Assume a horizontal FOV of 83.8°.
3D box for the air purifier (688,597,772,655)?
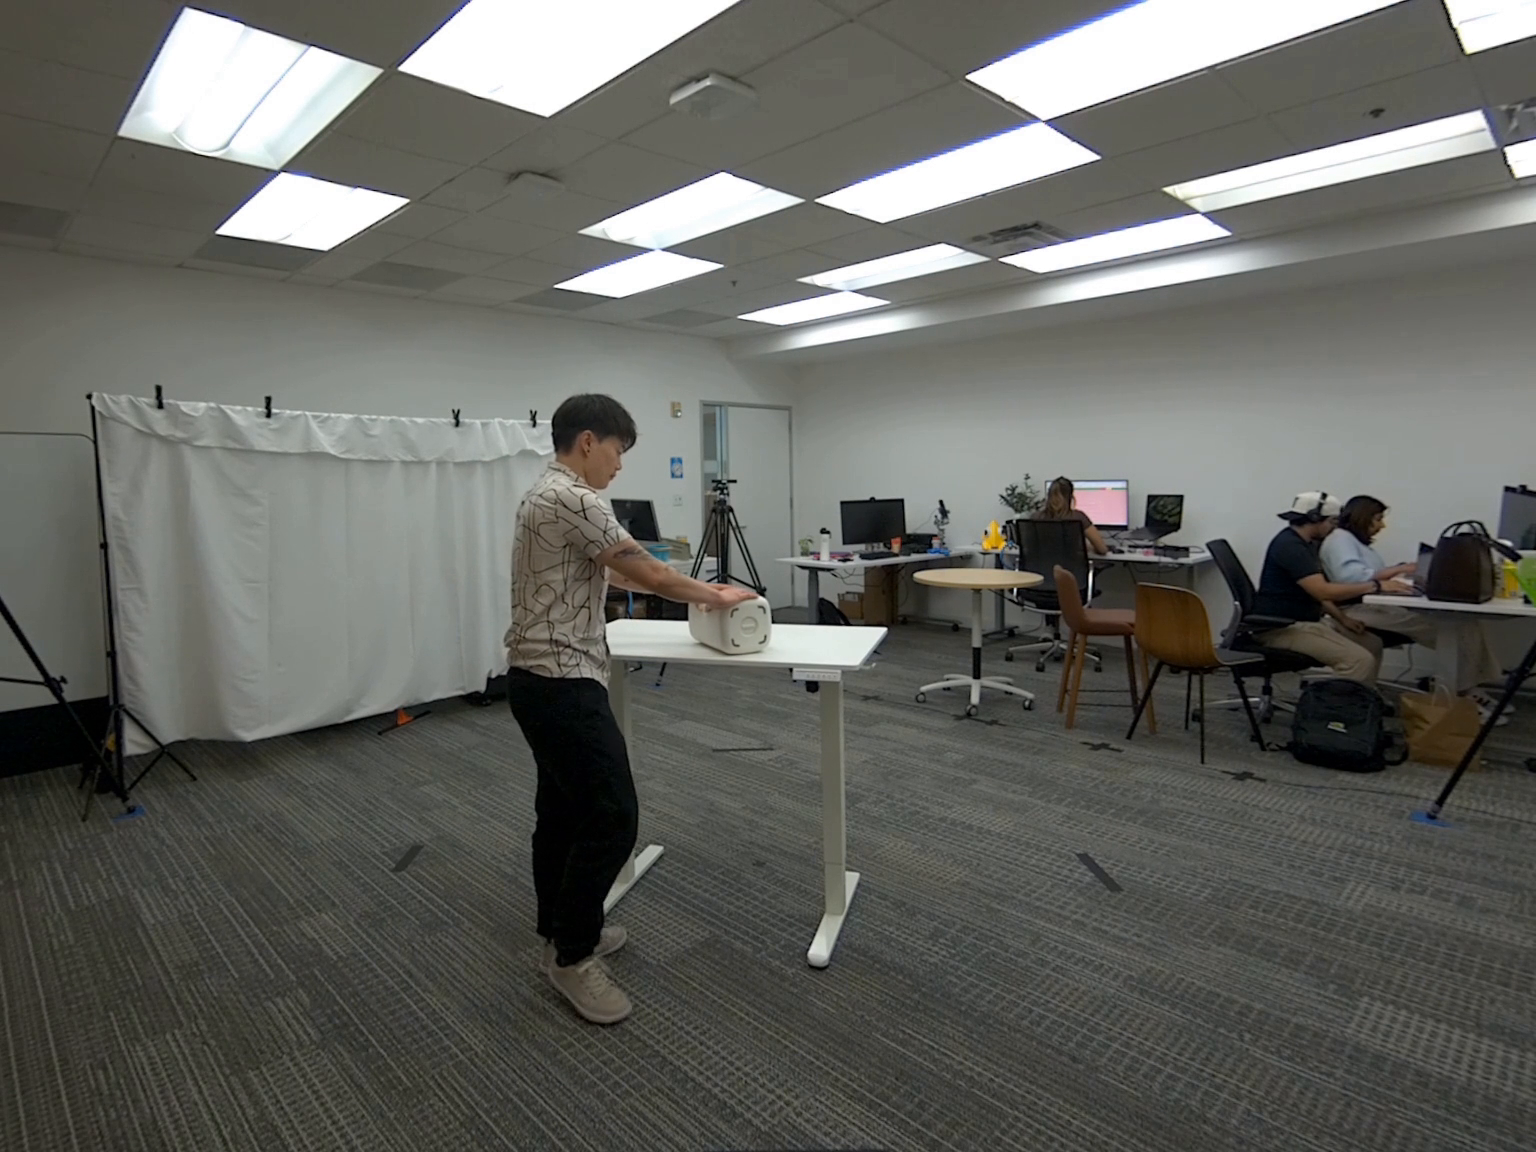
[{"bbox_3d":[-0.111,0.136,2.626,0.168,0.170,0.272,-5,7,-26],"label":"air purifier"}]
